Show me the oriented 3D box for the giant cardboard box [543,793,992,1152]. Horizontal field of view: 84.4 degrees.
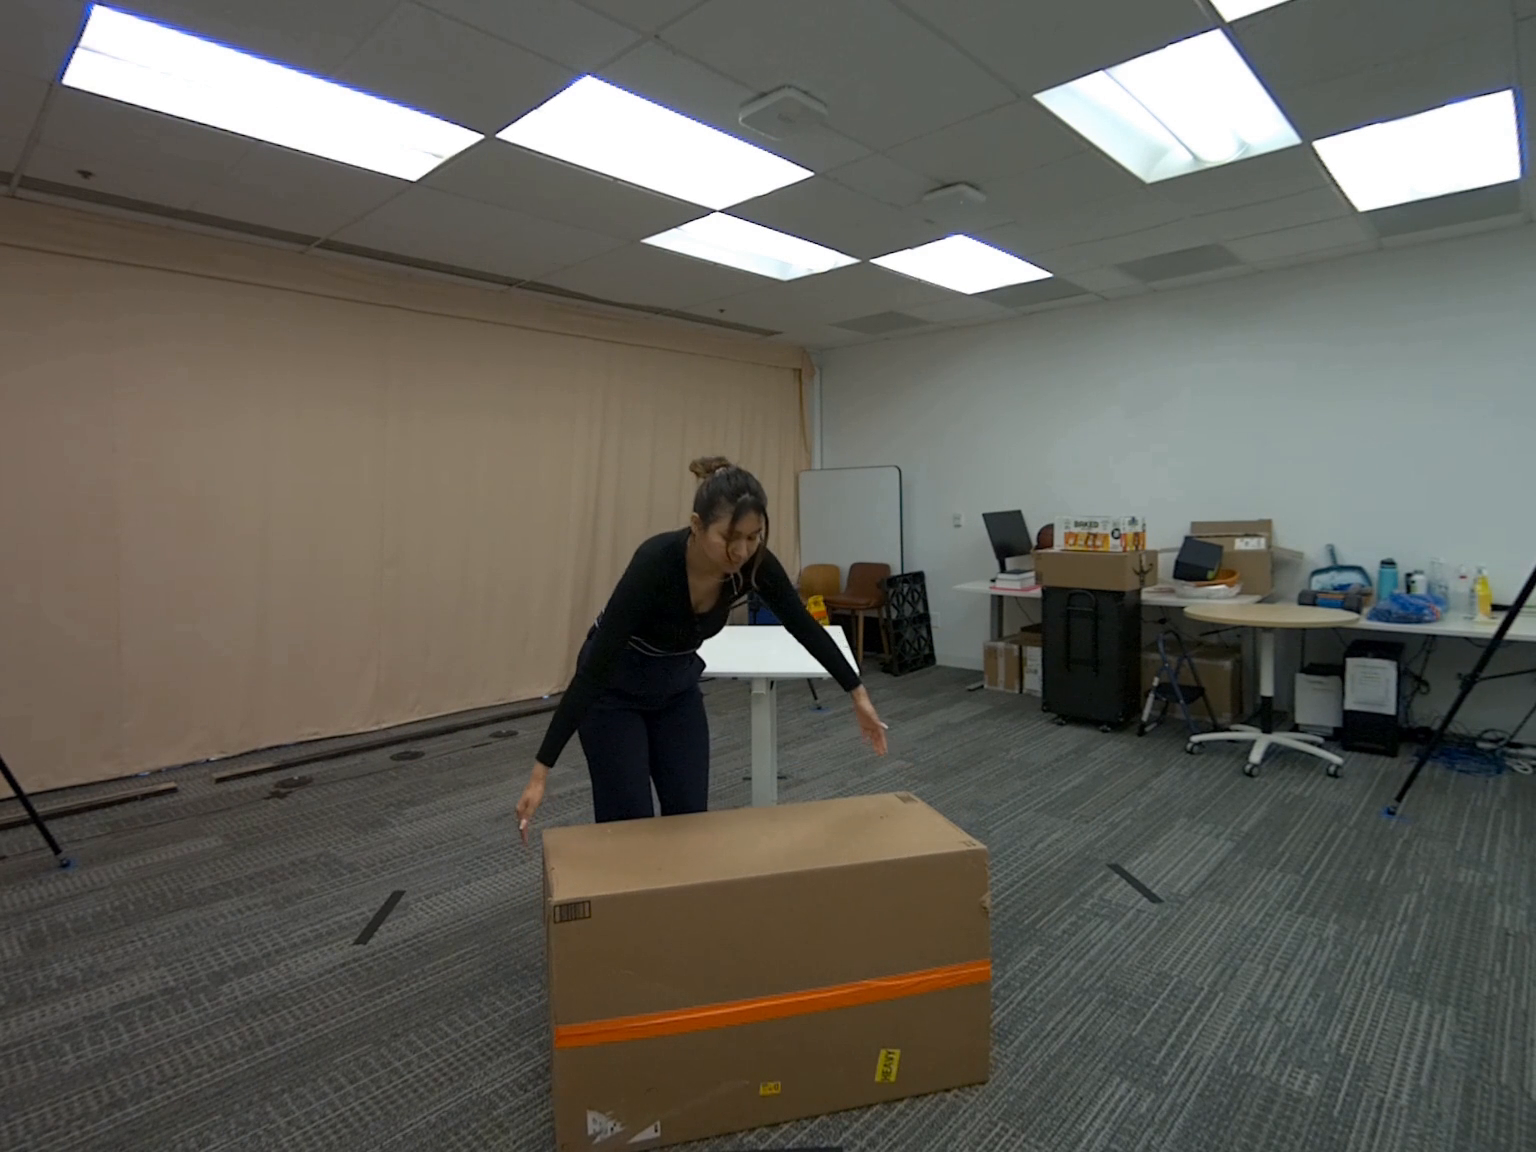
[{"bbox_3d":[-0.014,0.925,2.073,1.011,0.576,0.433,-2,4,-14],"label":"giant cardboard box"}]
